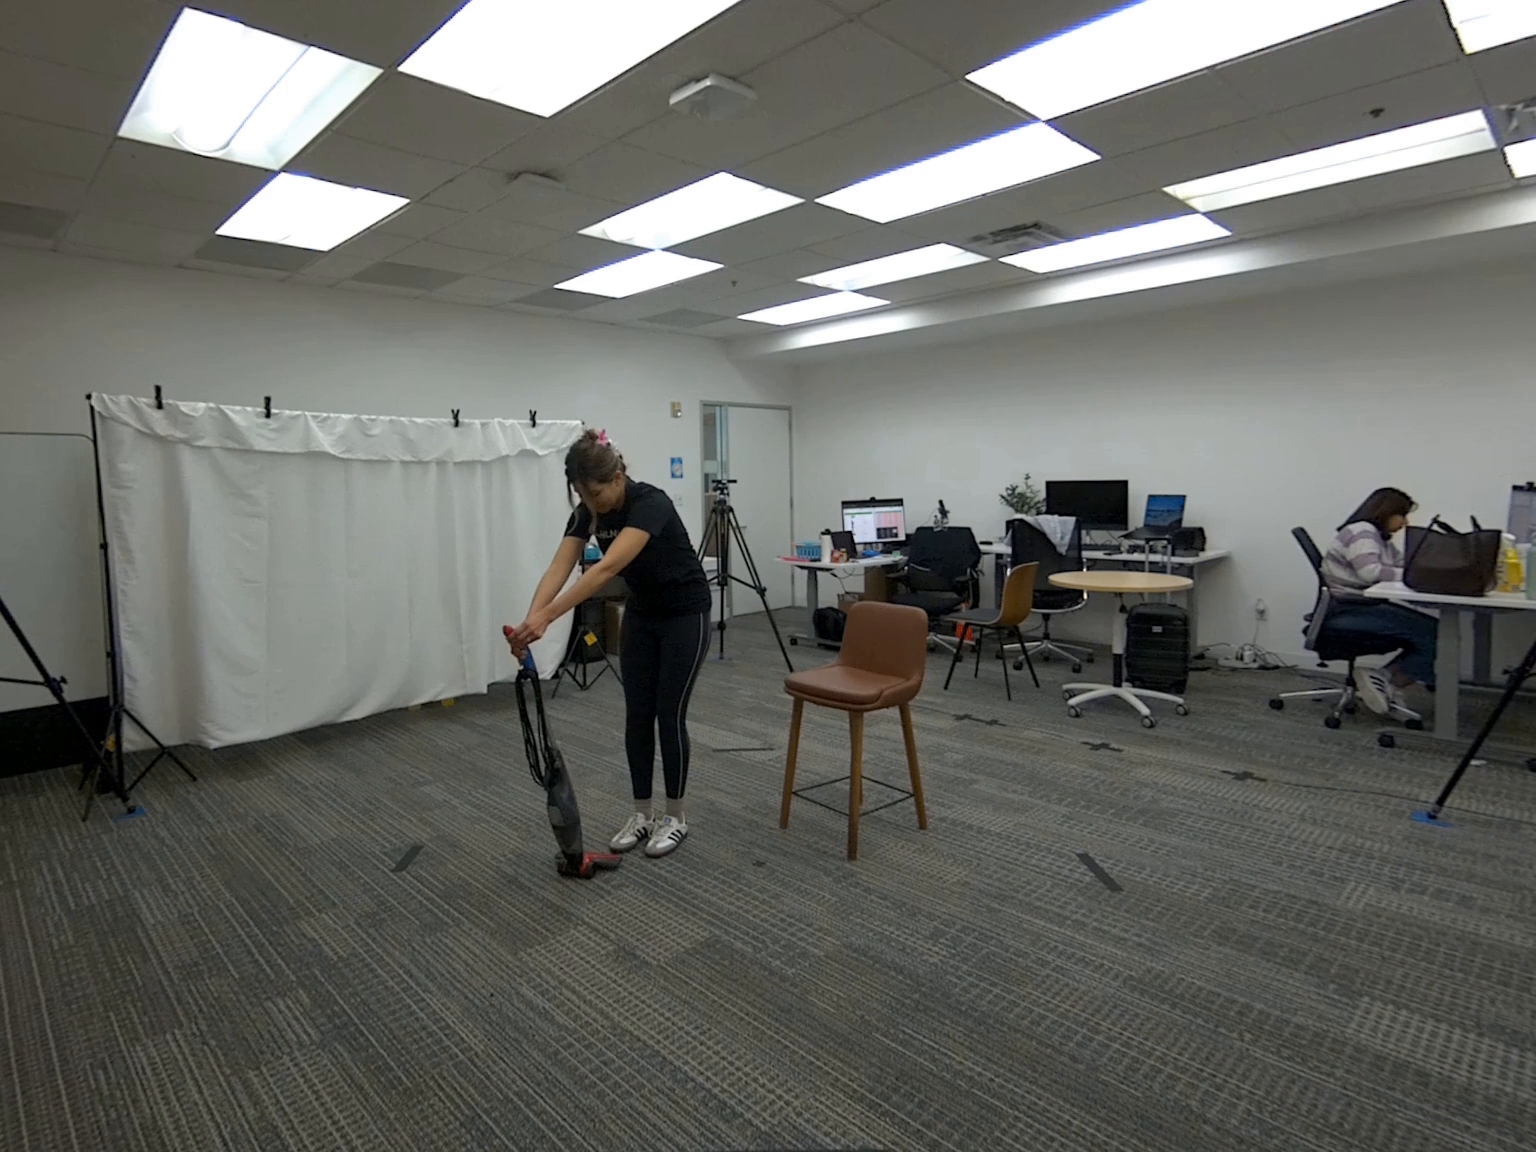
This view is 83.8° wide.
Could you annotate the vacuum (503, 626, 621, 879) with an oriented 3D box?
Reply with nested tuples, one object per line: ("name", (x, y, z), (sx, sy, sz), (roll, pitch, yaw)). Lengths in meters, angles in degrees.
("vacuum", (-0.734, 0.611, 2.850), (0.258, 1.022, 0.144), (4, 31, 22))
